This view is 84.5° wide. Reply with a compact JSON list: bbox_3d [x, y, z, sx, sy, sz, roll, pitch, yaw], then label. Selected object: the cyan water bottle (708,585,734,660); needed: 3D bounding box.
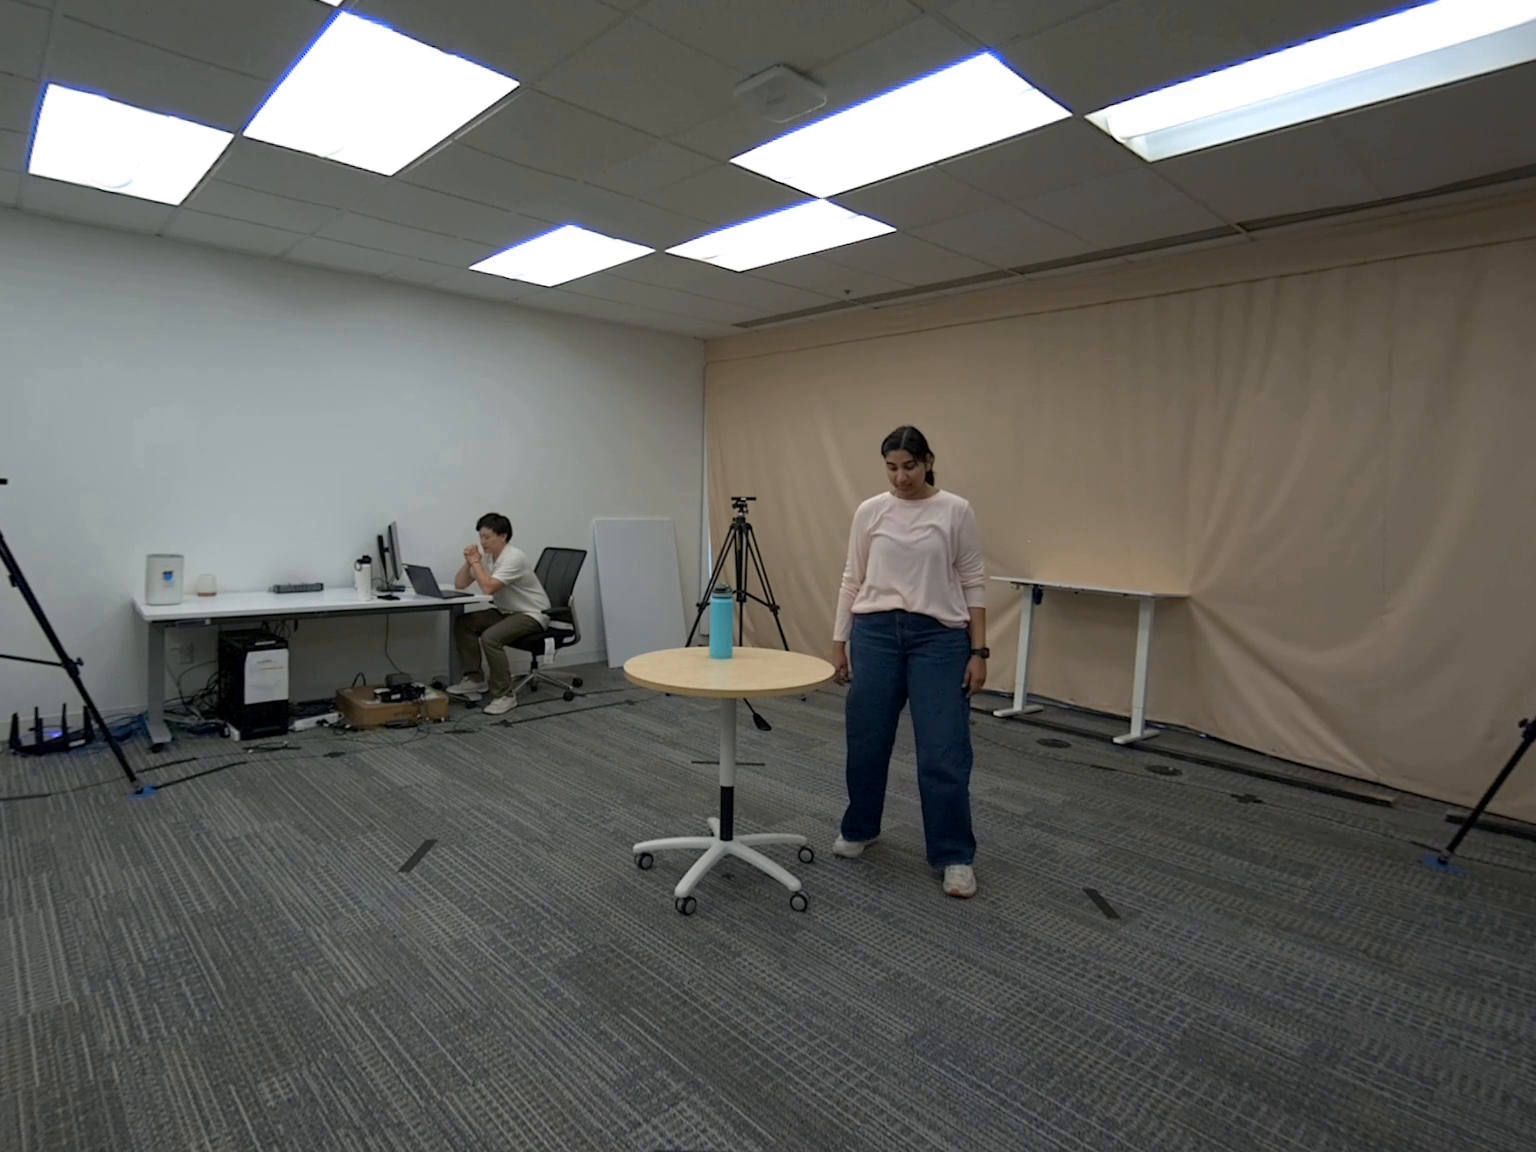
[{"bbox_3d":[-0.183,0.171,3.230,0.092,0.283,0.092,2,-1,-1],"label":"cyan water bottle"}]
